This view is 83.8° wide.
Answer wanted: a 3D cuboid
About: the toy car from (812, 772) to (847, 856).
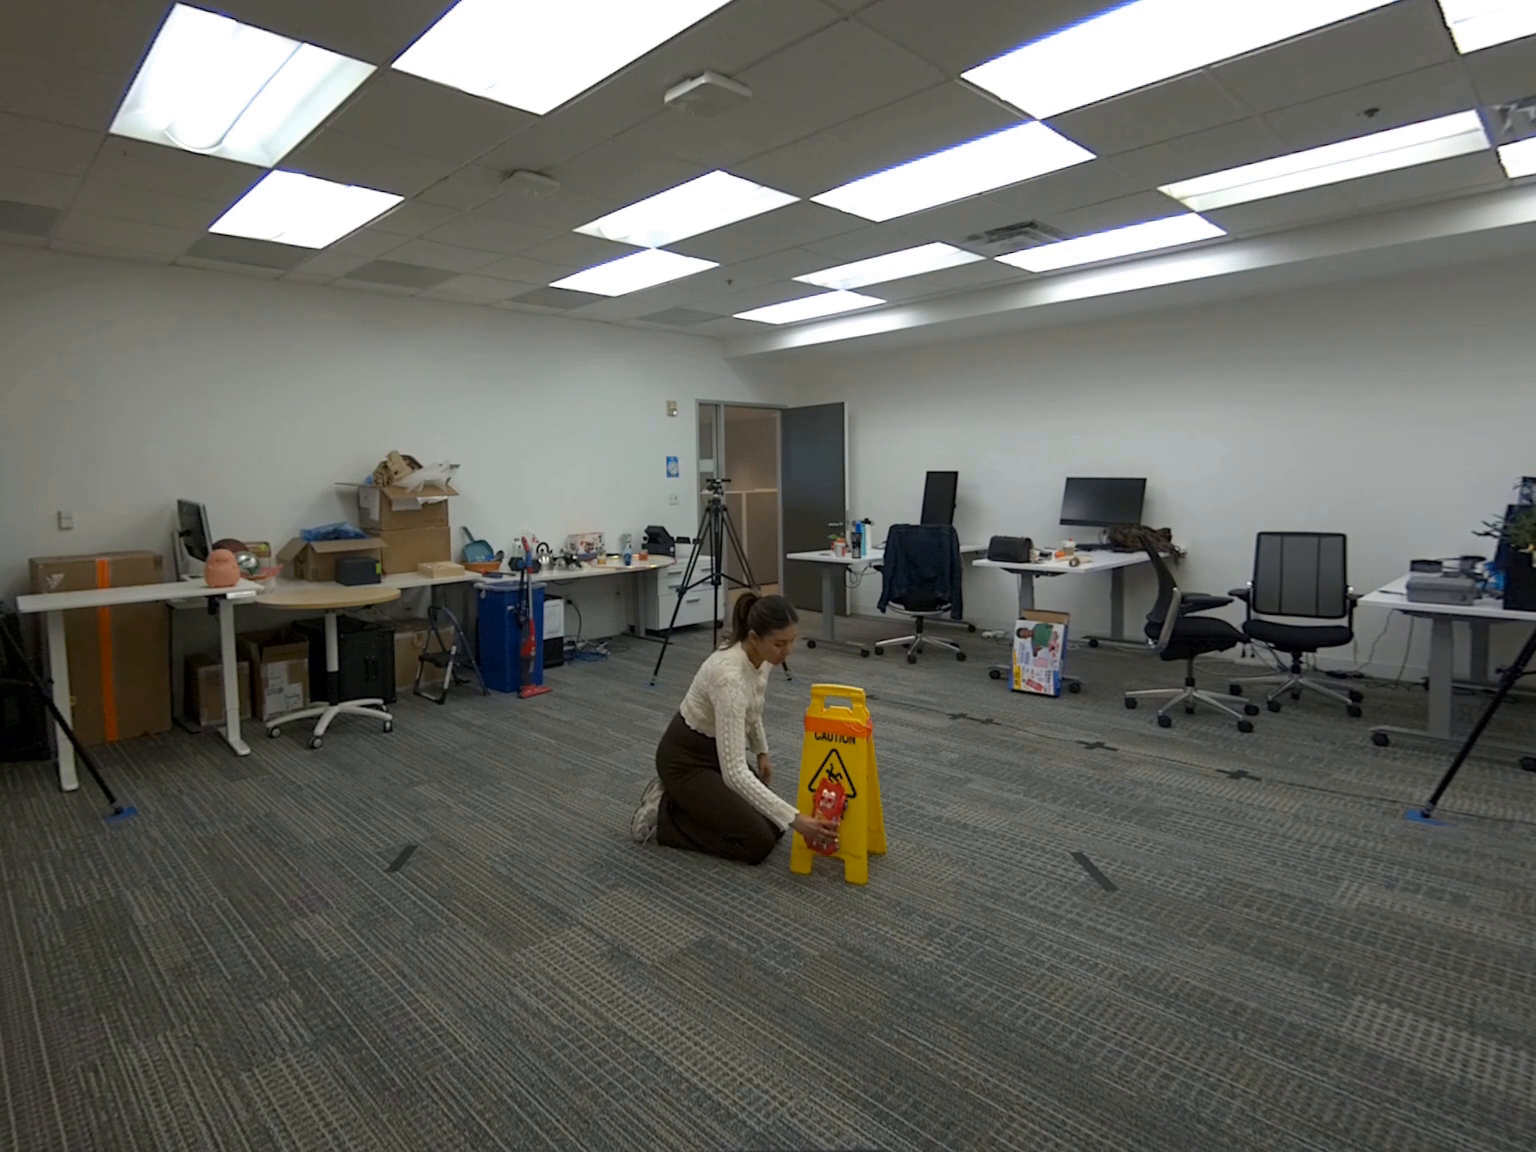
[{"bbox_3d":[0.188,0.829,2.967,0.133,0.253,0.082,11,9,23],"label":"toy car"}]
